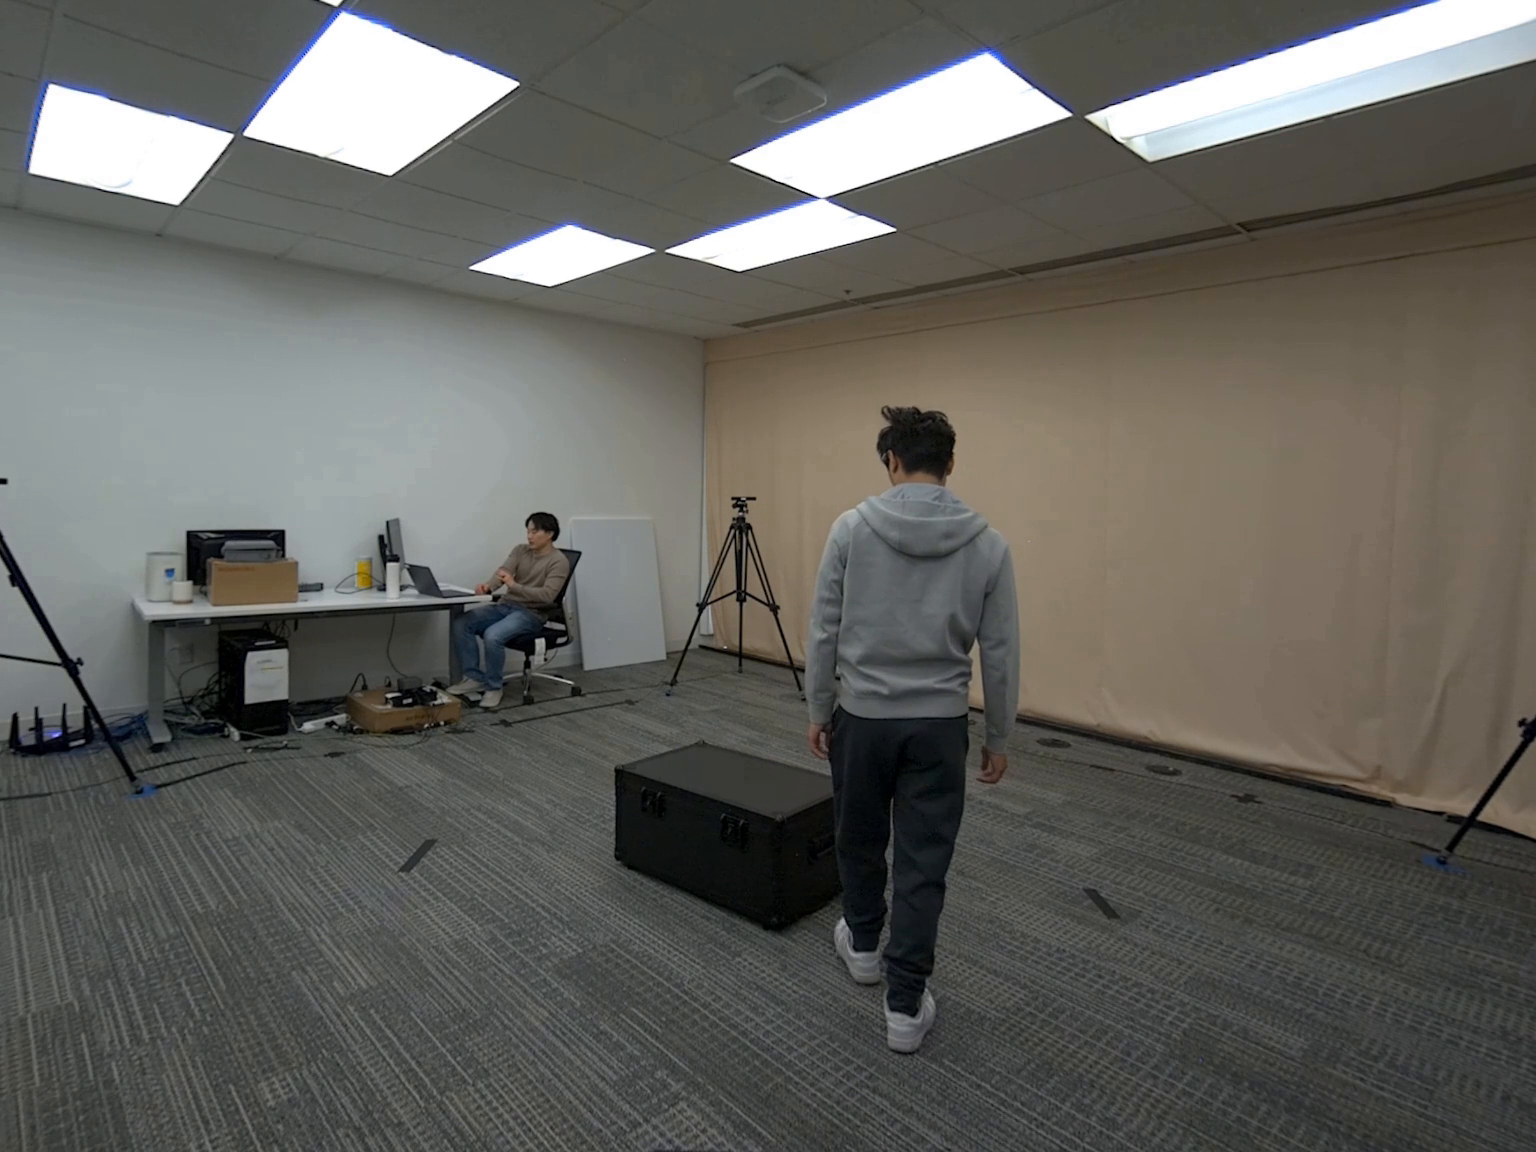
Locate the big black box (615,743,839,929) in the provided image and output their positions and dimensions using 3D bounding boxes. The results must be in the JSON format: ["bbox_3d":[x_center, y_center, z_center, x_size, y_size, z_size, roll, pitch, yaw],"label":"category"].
[{"bbox_3d":[-0.153,0.915,3.119,0.883,0.395,0.510,6,6,39],"label":"big black box"}]
